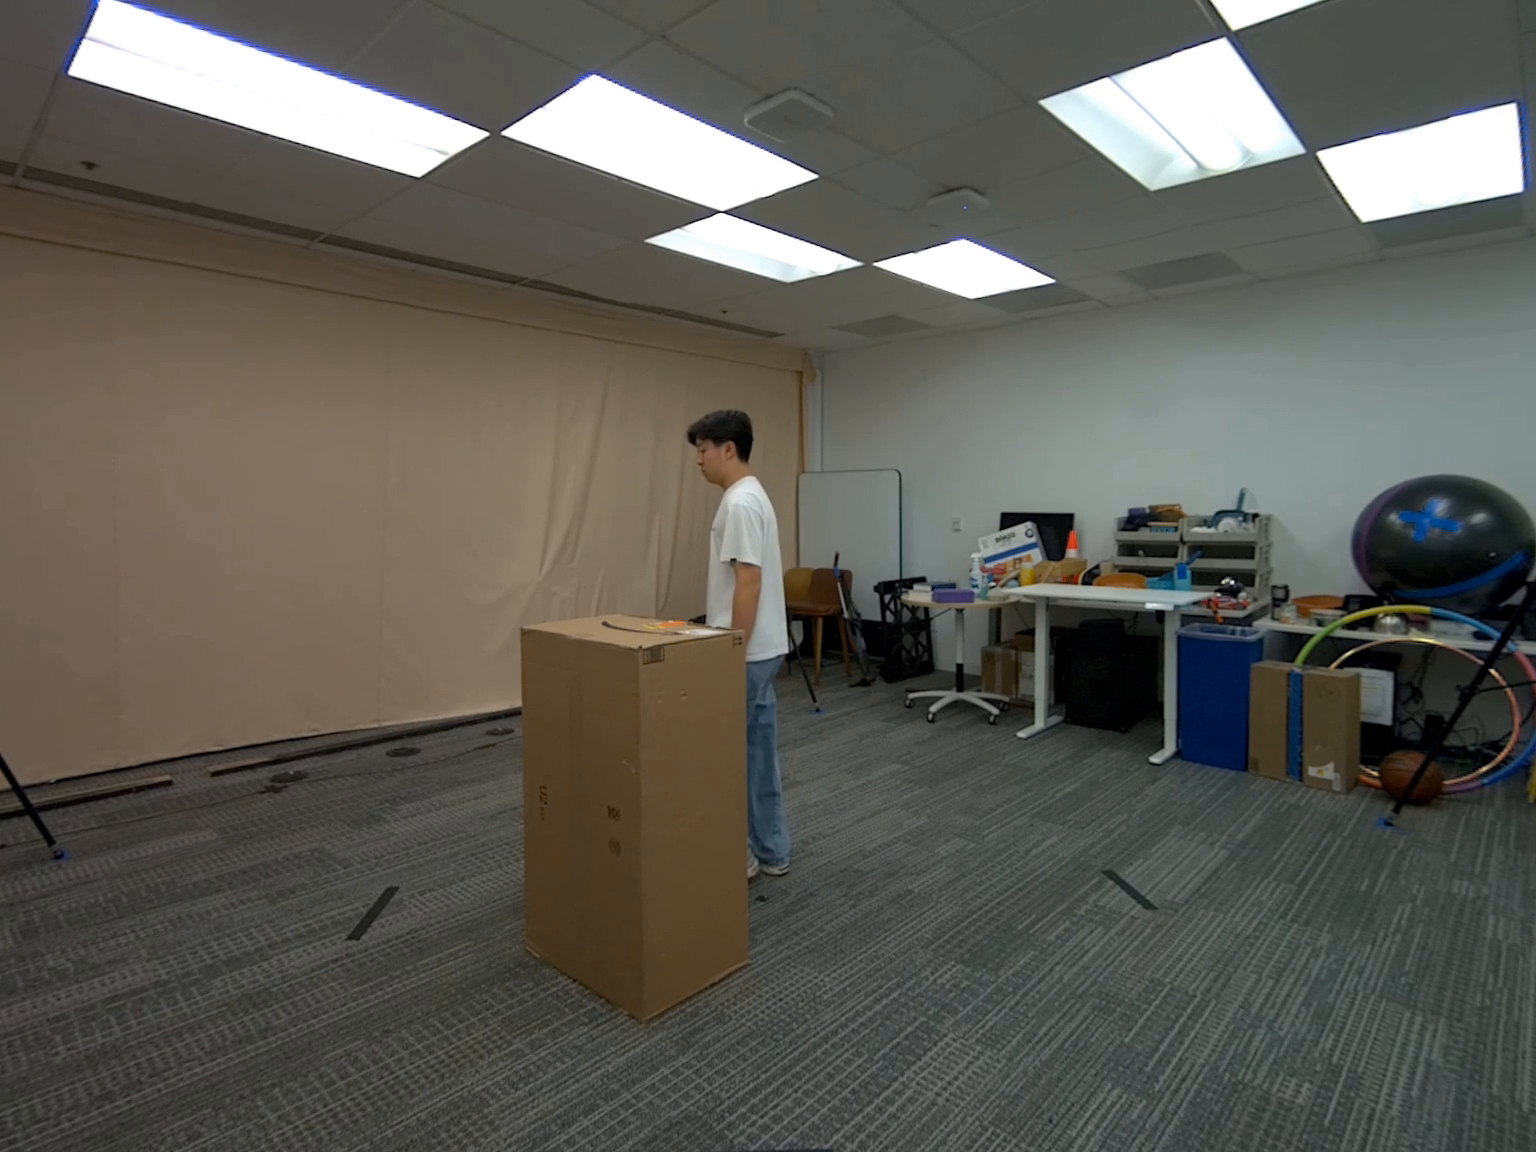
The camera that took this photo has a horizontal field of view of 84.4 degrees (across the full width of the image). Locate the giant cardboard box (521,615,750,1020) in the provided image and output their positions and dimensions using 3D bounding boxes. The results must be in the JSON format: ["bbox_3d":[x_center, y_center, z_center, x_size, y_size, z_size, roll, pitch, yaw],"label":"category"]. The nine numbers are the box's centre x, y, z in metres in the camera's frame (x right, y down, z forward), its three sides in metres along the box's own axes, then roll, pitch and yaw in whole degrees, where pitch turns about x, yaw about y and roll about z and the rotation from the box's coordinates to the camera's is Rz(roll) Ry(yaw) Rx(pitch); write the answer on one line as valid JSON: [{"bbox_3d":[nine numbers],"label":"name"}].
[{"bbox_3d":[-0.416,0.672,2.584,0.597,1.024,0.413,3,4,42],"label":"giant cardboard box"}]
